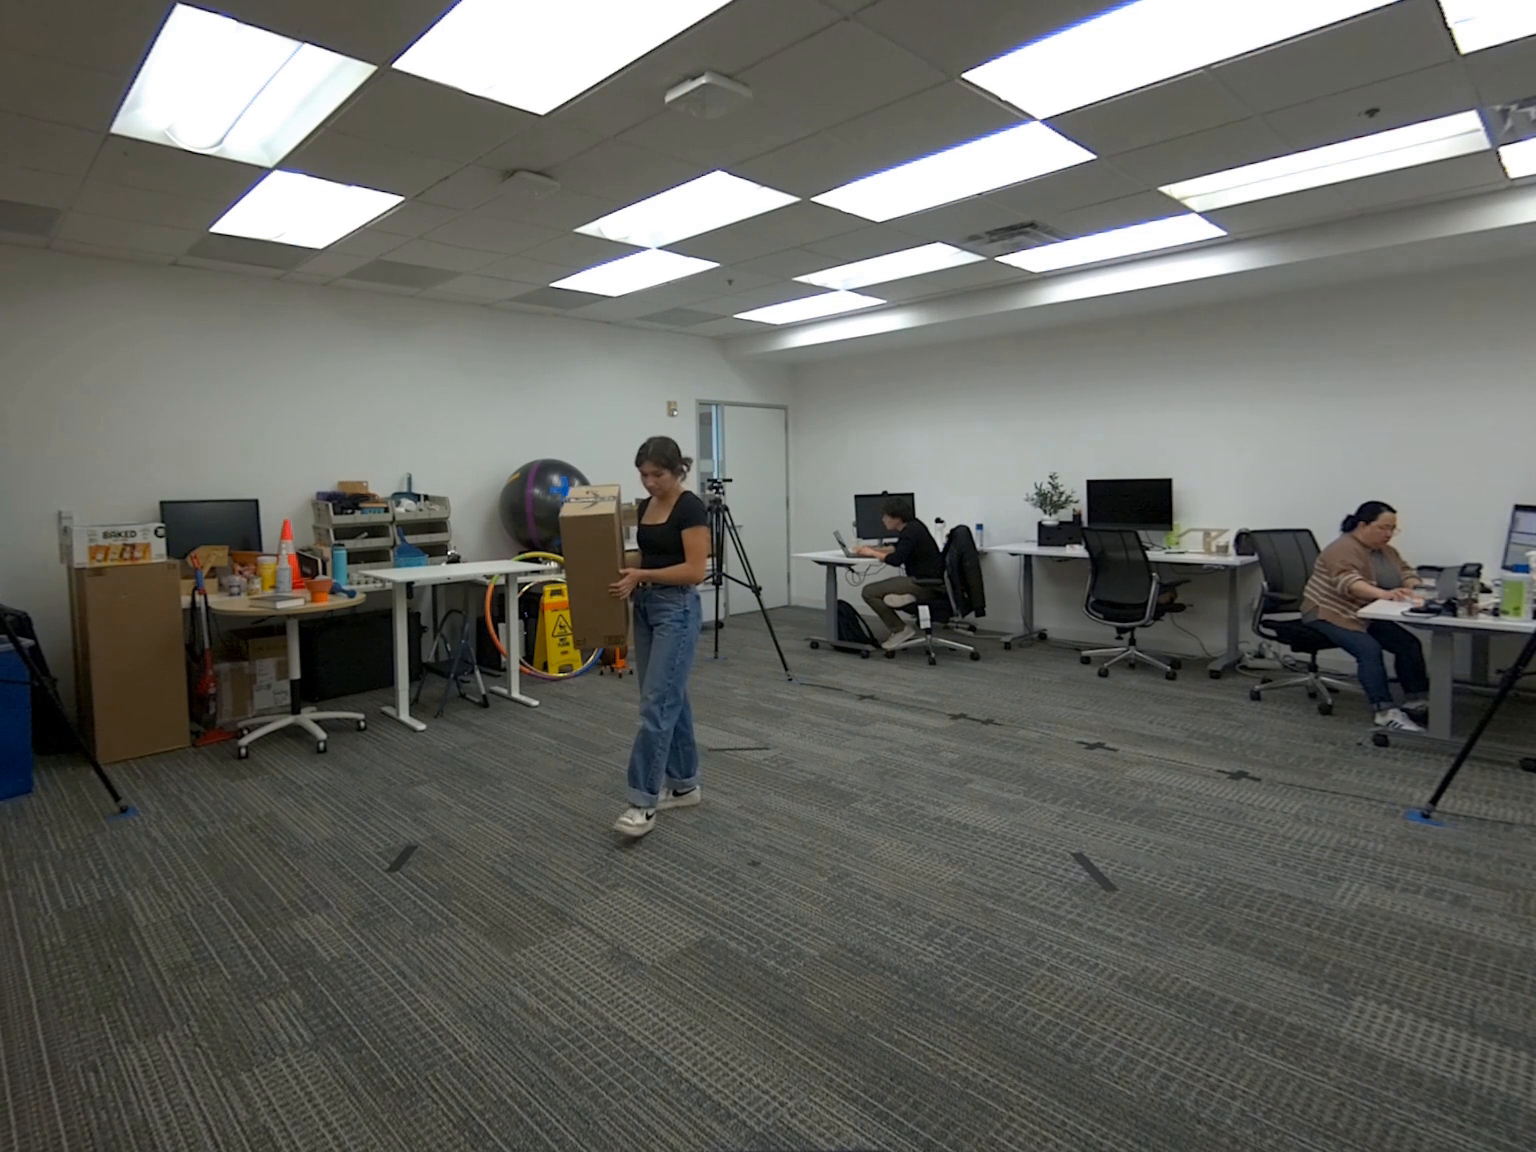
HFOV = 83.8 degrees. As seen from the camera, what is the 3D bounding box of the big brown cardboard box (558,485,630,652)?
[{"bbox_3d":[-0.711,-0.053,3.549,0.232,0.579,0.426,-4,19,-4],"label":"big brown cardboard box"}]
